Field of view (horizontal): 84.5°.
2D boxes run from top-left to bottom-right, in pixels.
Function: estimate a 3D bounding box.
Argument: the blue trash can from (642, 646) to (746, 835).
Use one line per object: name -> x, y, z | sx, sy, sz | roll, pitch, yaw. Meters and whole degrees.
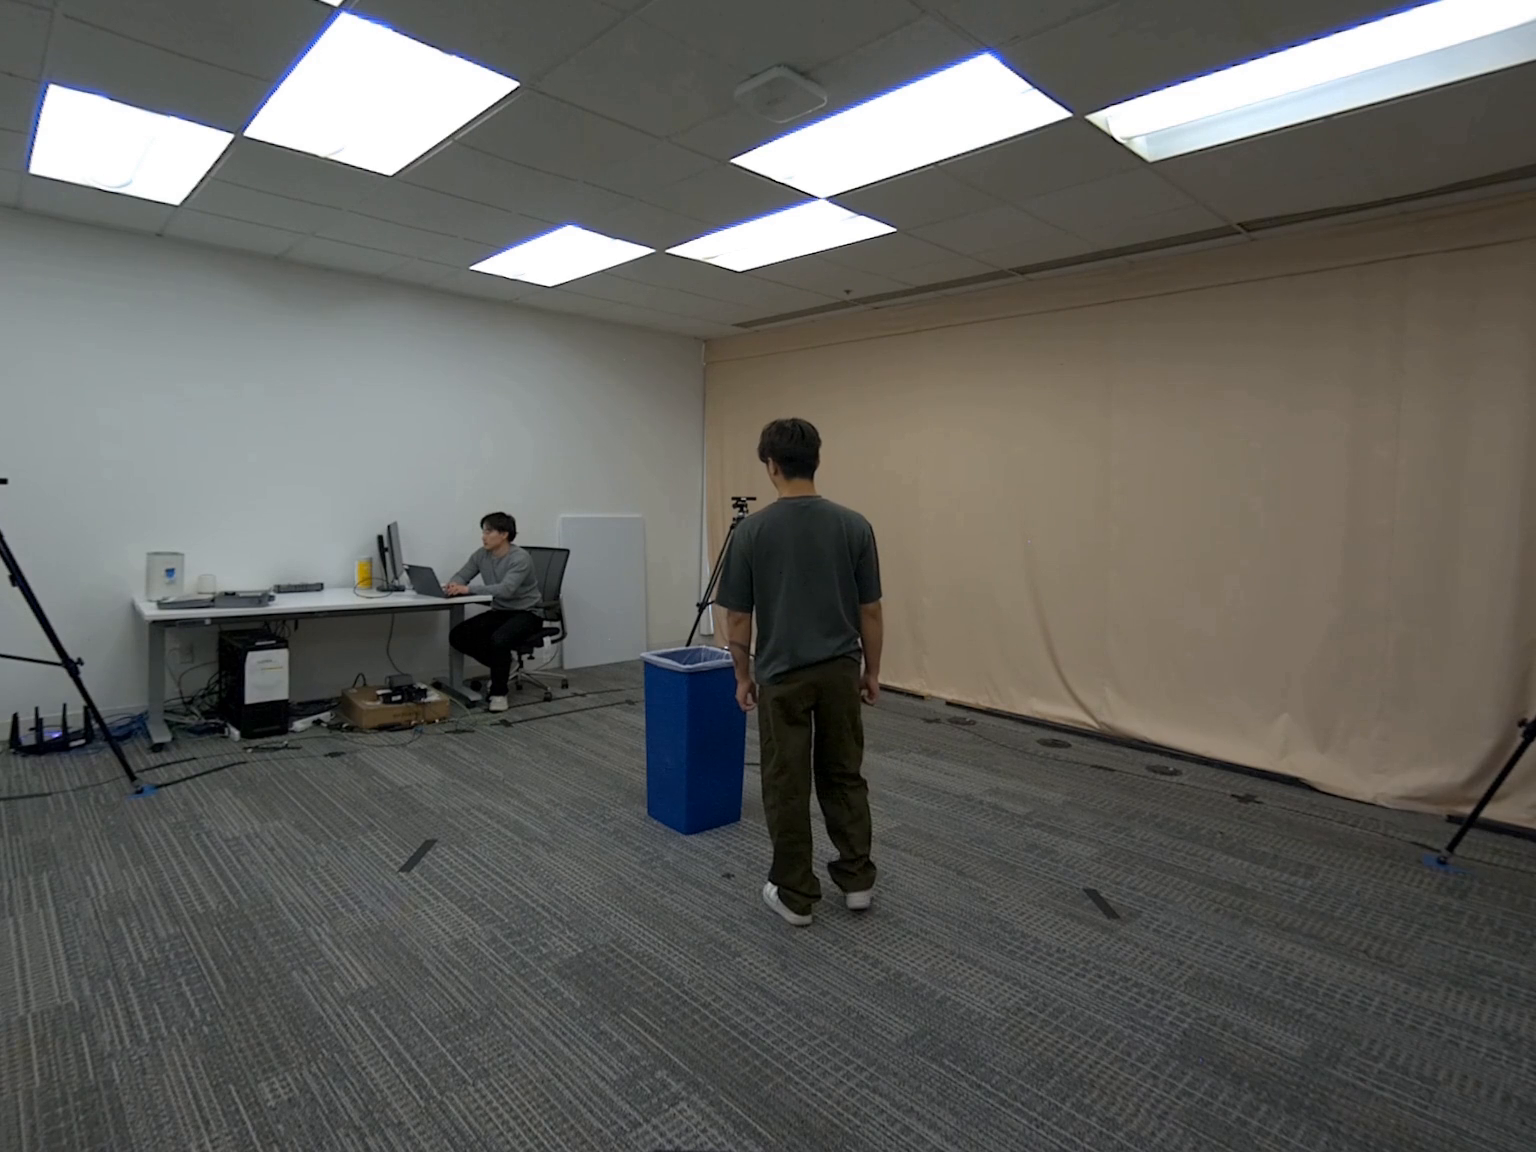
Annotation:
blue trash can -> -0.318, 0.696, 3.655 | 0.369, 0.712, 0.383 | -2, 4, -42
